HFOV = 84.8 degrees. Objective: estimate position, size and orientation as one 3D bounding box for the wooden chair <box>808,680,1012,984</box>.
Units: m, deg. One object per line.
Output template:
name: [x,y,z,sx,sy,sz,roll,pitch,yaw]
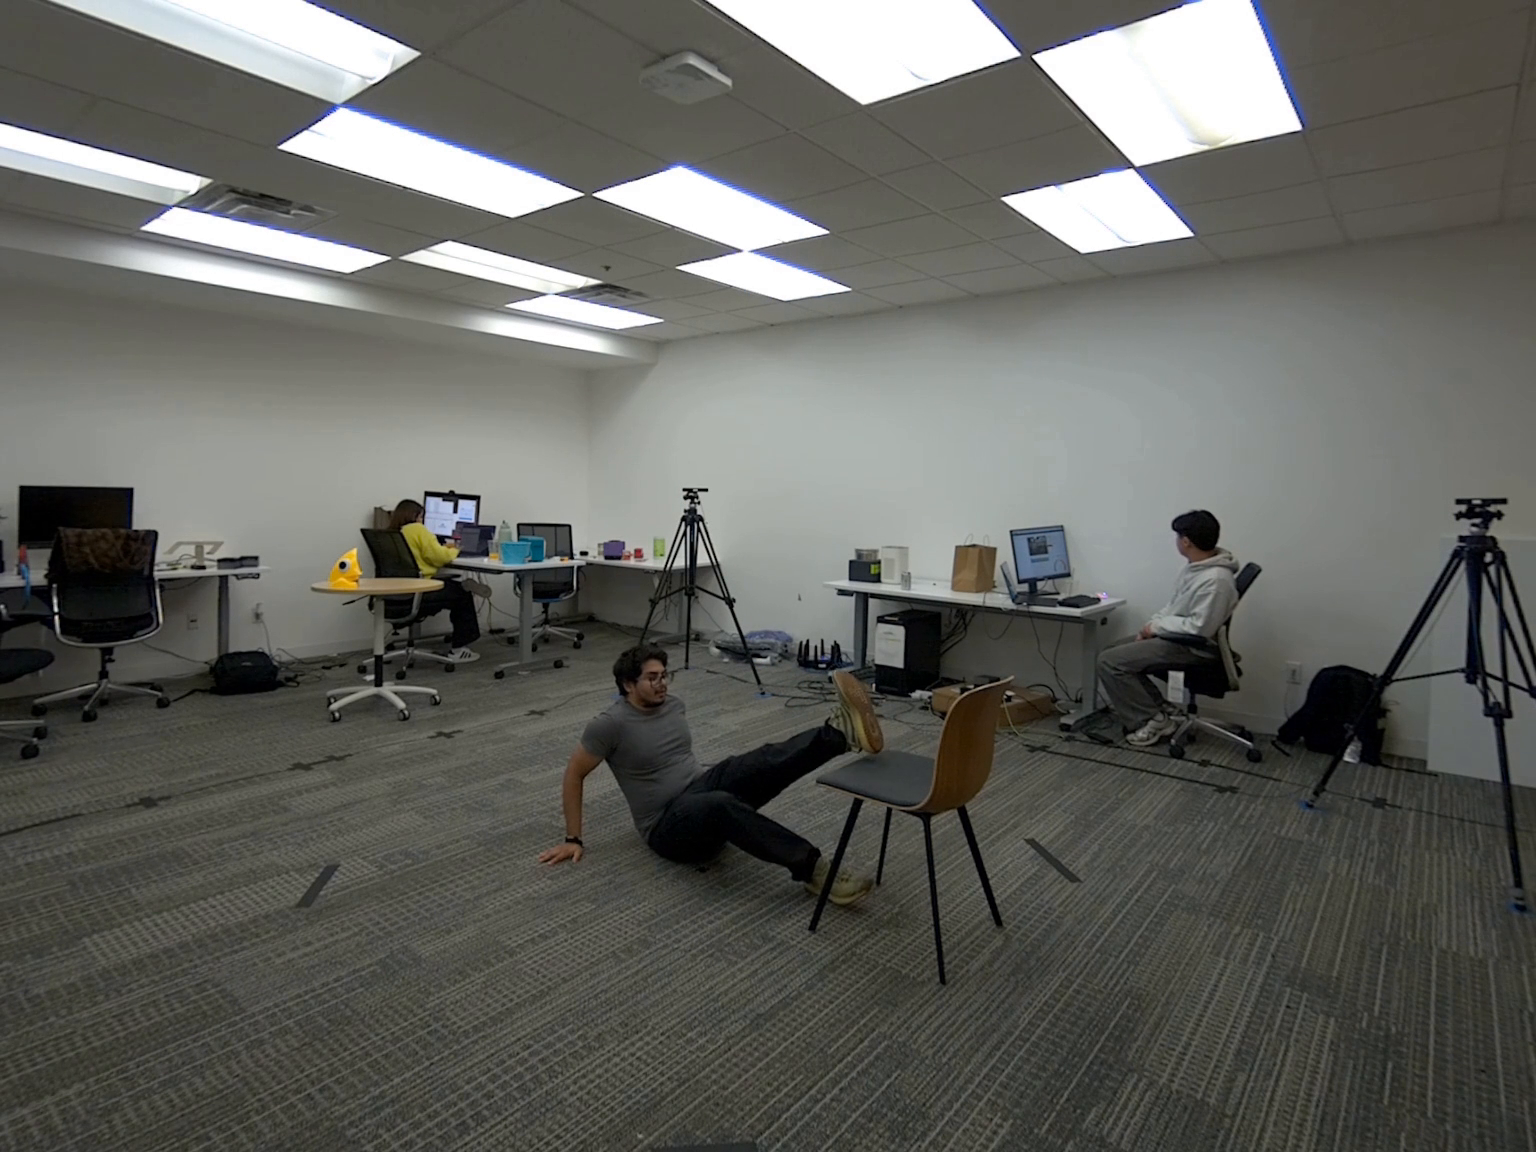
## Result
wooden chair: [0.445,0.697,2.696,0.541,0.873,0.464,9,7,37]
